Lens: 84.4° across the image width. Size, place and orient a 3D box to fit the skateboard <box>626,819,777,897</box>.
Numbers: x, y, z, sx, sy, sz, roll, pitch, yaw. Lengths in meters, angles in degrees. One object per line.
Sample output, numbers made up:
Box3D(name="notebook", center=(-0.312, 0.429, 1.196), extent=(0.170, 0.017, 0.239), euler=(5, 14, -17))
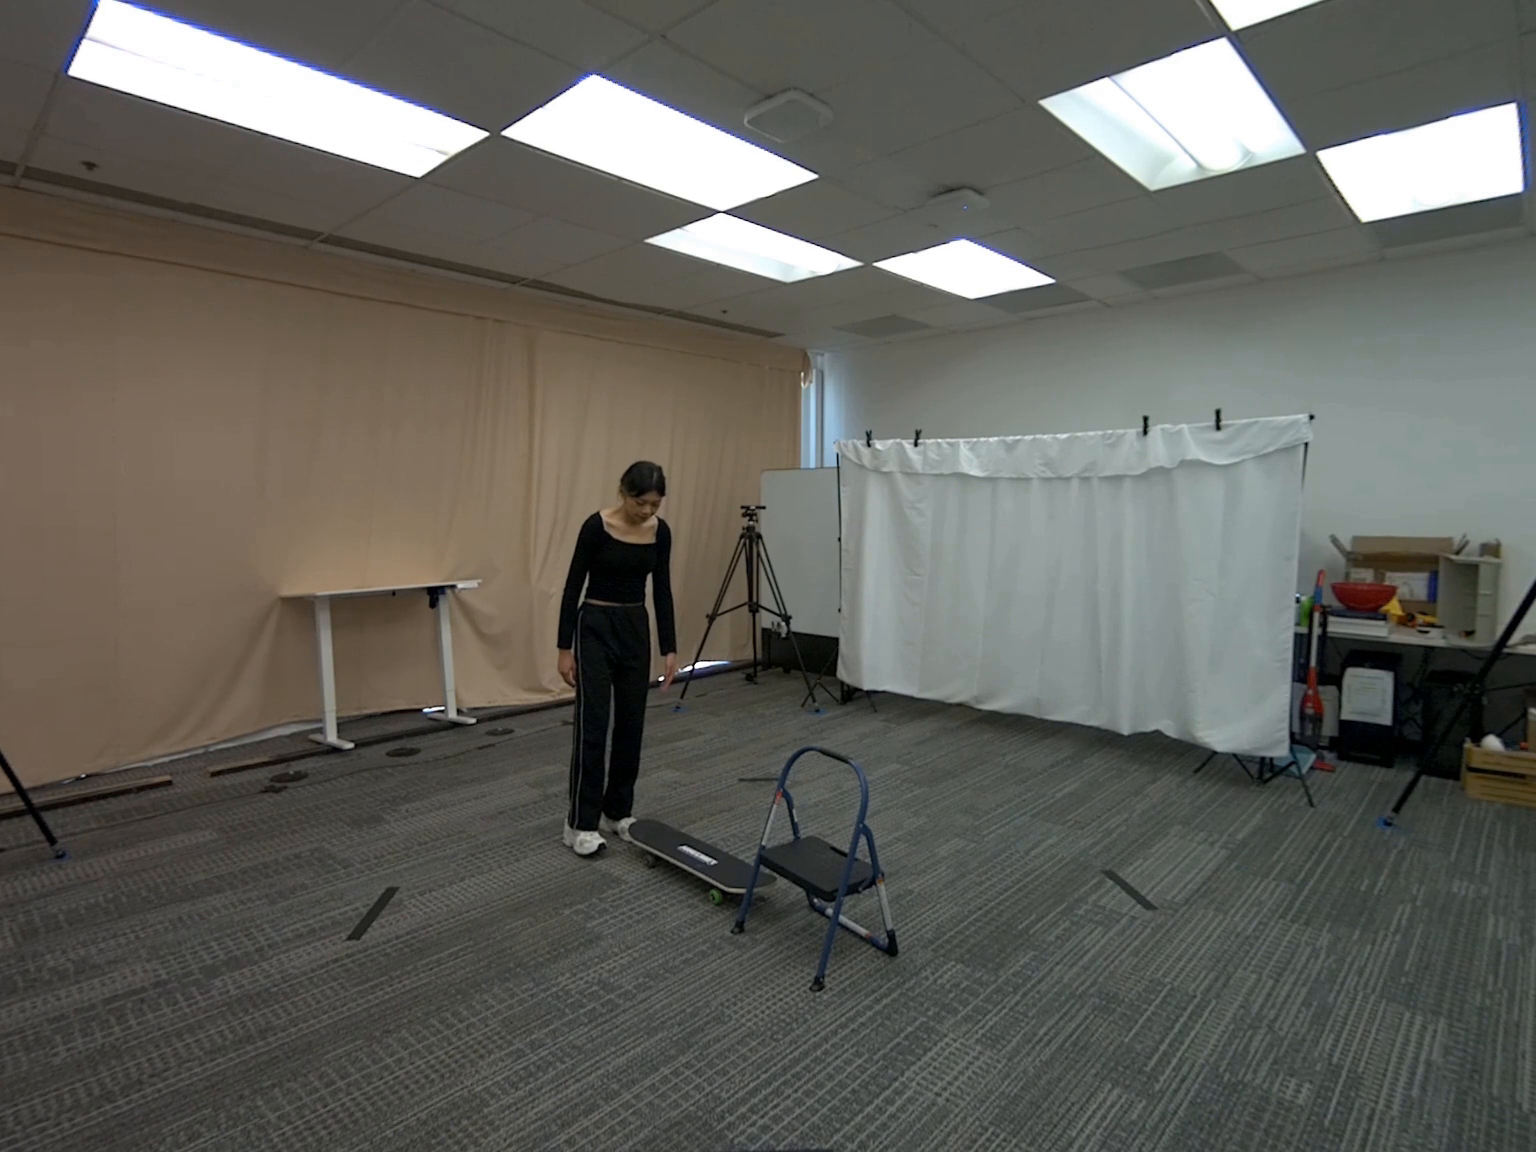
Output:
Box3D(name="skateboard", center=(-0.269, 1.079, 3.149), extent=(0.187, 0.110, 0.812), euler=(-3, 5, -42))
